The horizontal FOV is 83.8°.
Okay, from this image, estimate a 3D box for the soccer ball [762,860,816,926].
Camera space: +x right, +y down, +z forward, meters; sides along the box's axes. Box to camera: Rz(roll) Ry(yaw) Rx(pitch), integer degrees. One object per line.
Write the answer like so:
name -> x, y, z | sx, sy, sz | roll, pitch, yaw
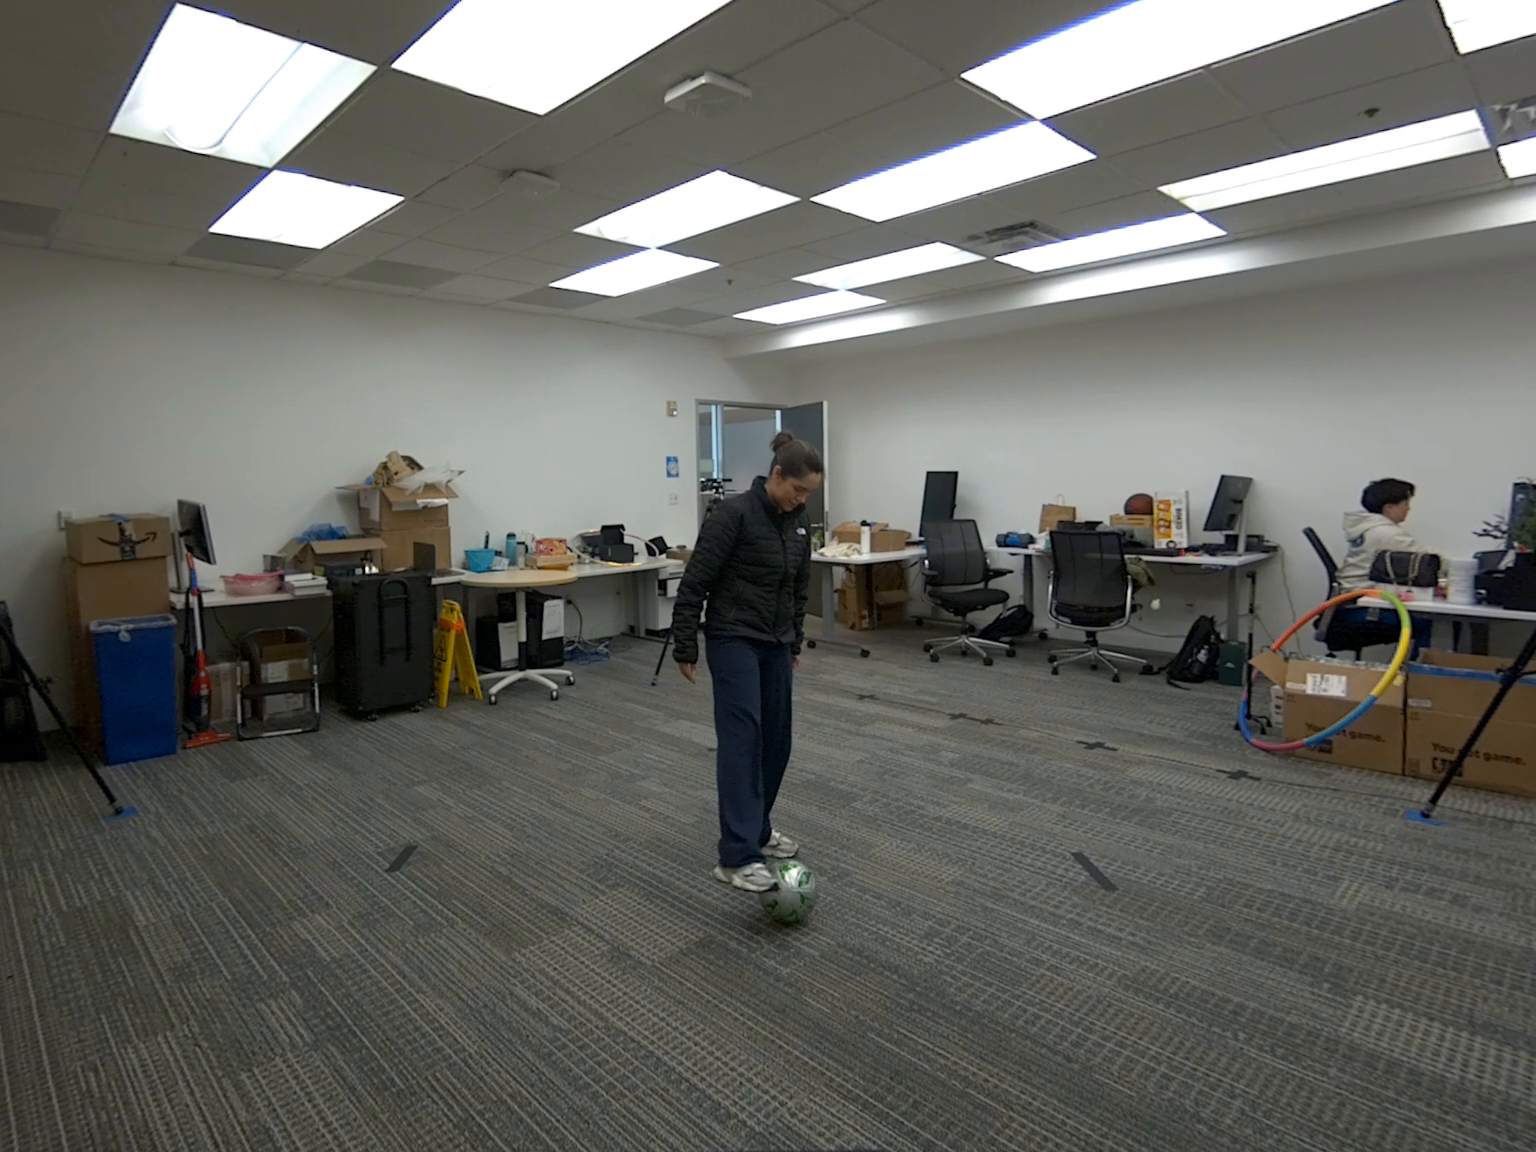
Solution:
soccer ball -> 0.068, 0.990, 2.710 | 0.187, 0.187, 0.188 | -1, 5, -2
